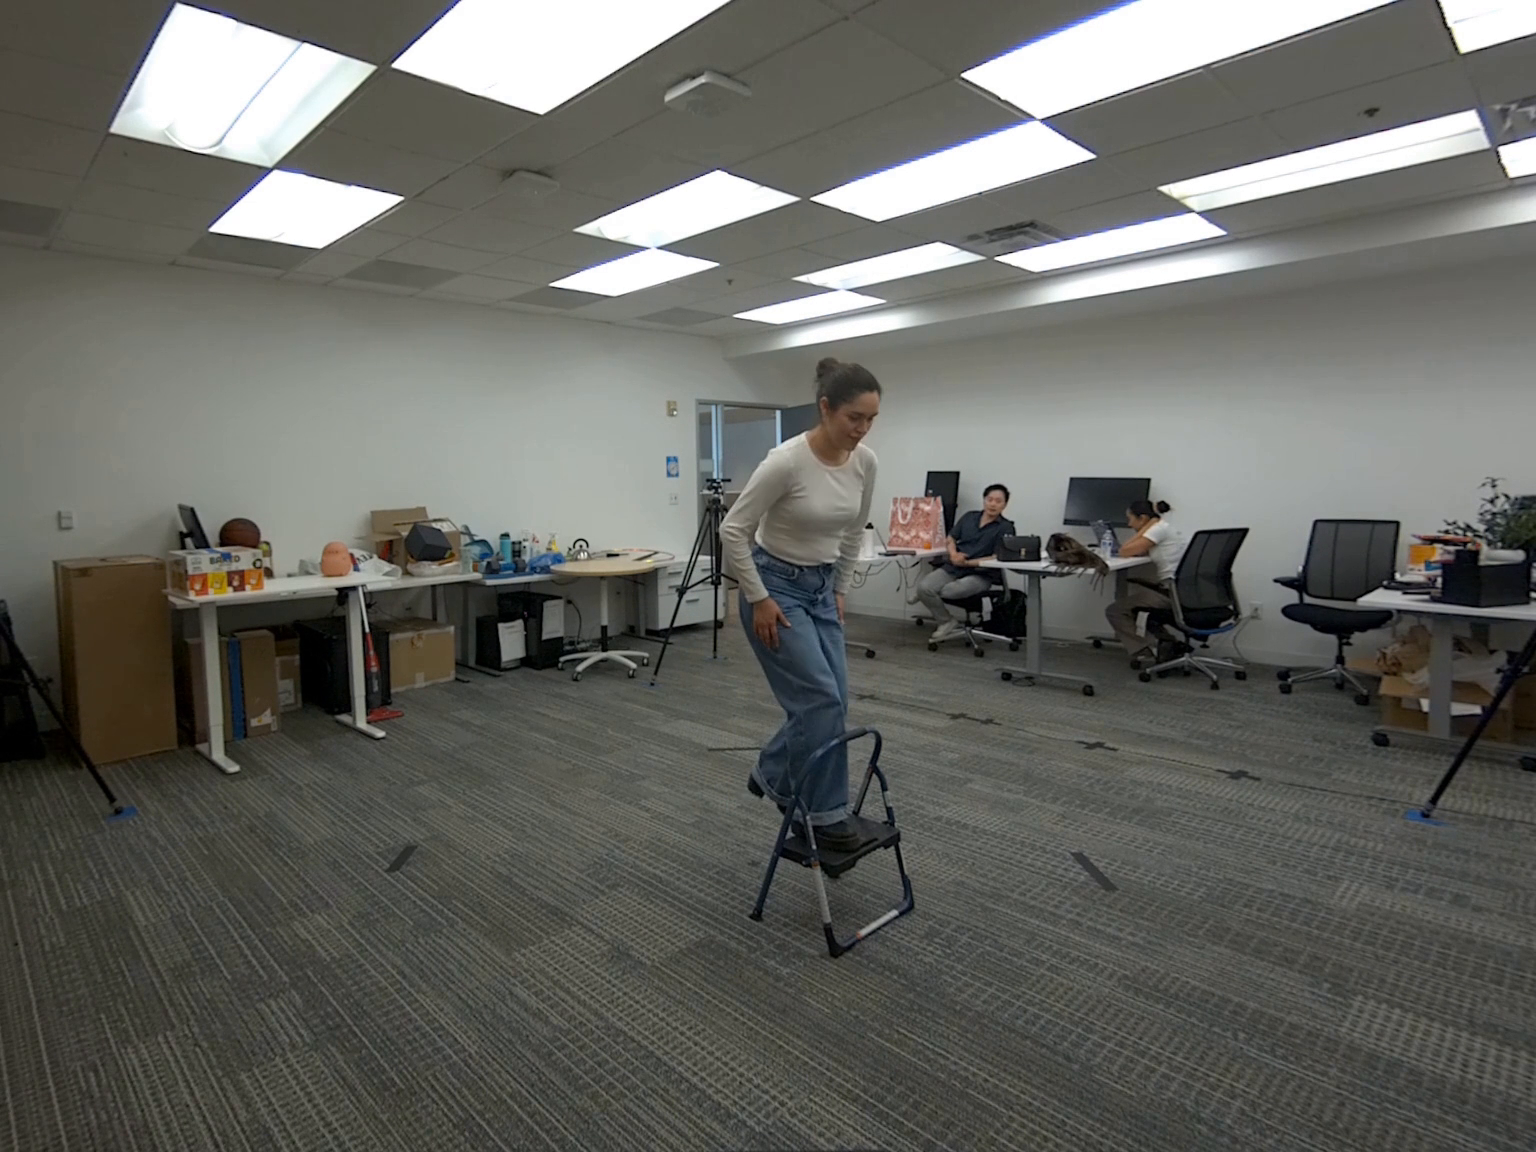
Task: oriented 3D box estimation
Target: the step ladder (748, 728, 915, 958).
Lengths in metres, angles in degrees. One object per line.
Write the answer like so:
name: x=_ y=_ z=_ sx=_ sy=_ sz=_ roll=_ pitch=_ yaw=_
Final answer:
step ladder: x=0.207 y=0.781 z=2.727 sx=0.360 sy=0.604 sz=0.419 roll=3 pitch=6 yaw=44
